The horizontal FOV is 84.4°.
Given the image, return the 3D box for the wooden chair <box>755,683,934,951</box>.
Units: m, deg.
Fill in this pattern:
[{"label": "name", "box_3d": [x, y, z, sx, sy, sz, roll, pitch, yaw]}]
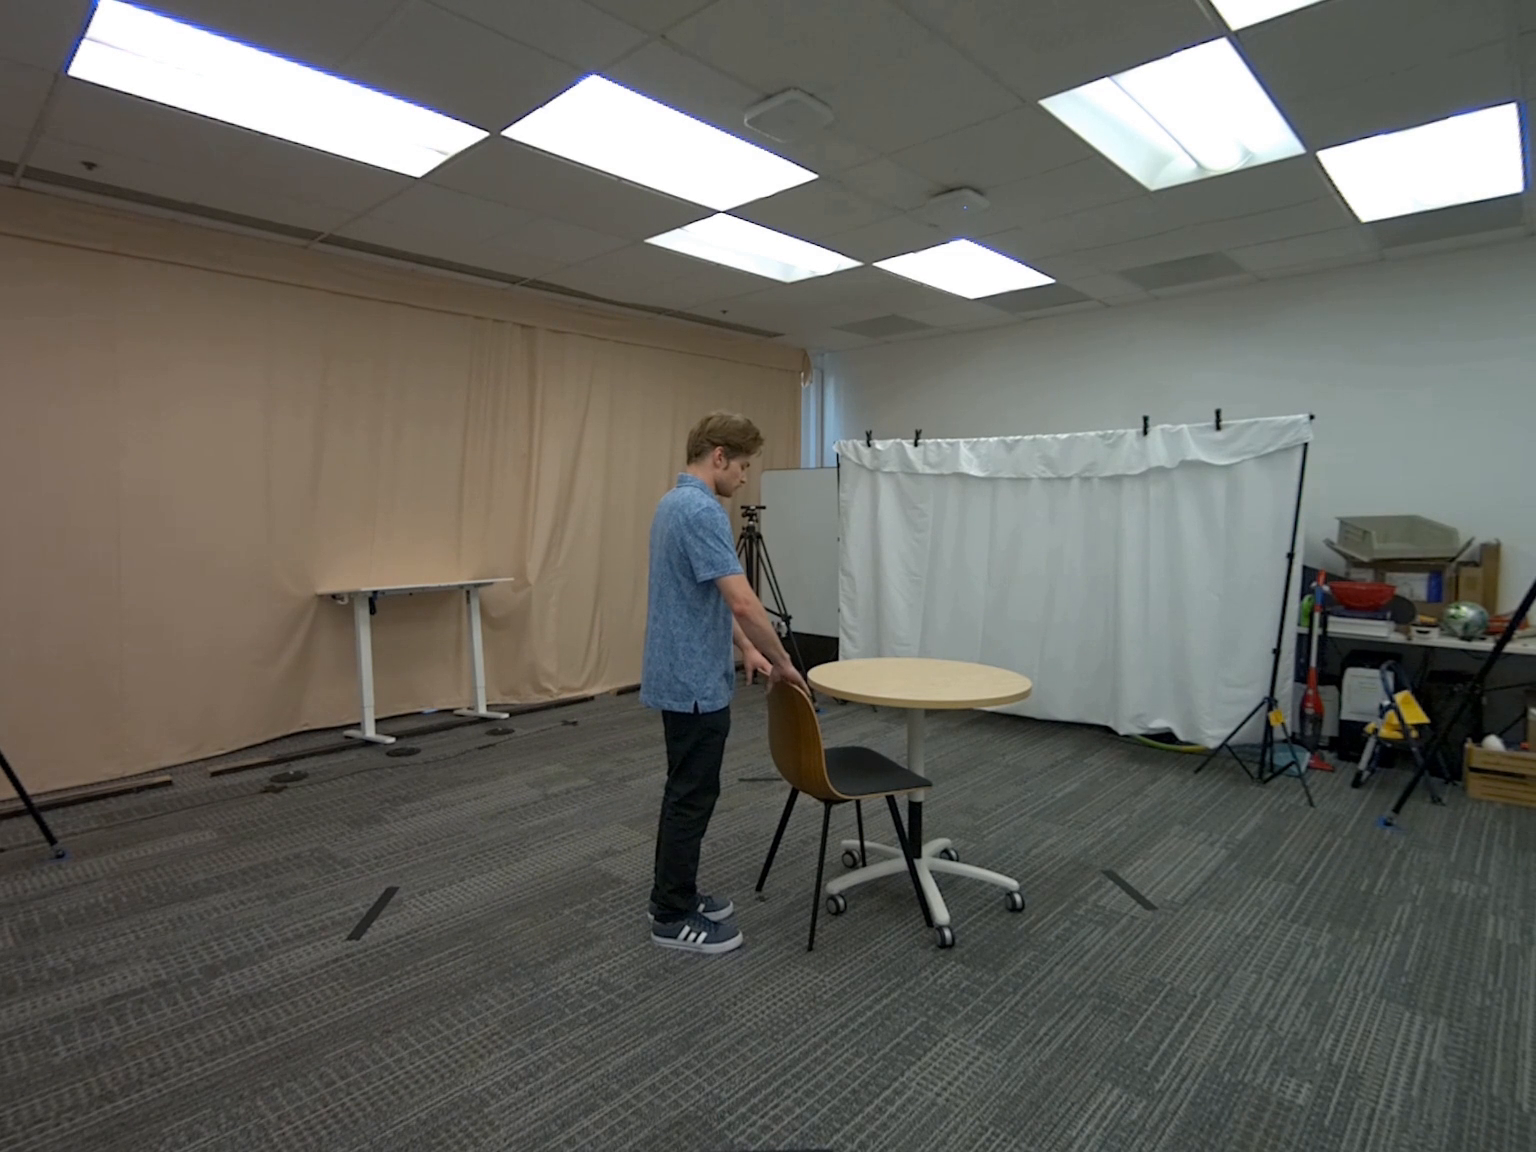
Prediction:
[{"label": "wooden chair", "box_3d": [0.257, 0.721, 2.876, 0.513, 0.875, 0.489, -6, 5, -21]}]
